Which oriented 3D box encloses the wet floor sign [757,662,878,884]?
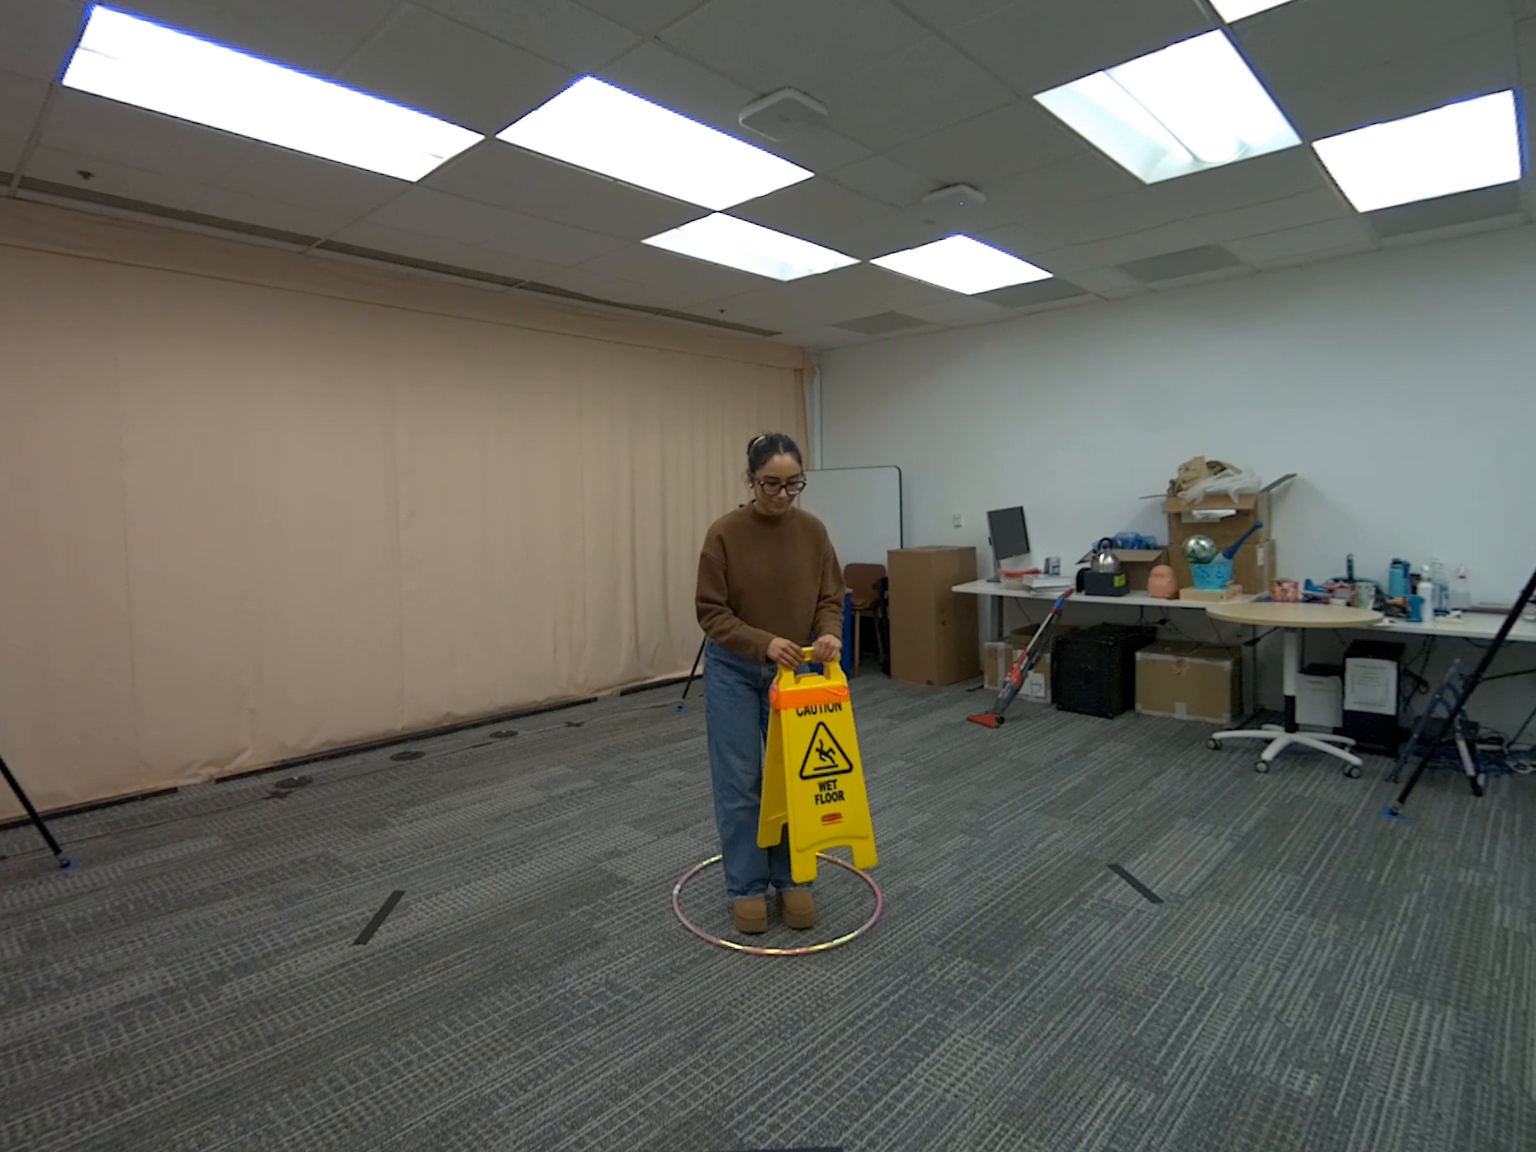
[{"bbox_3d":[0.140,0.548,2.565,0.277,0.644,0.296,-5,5,-21],"label":"wet floor sign"}]
